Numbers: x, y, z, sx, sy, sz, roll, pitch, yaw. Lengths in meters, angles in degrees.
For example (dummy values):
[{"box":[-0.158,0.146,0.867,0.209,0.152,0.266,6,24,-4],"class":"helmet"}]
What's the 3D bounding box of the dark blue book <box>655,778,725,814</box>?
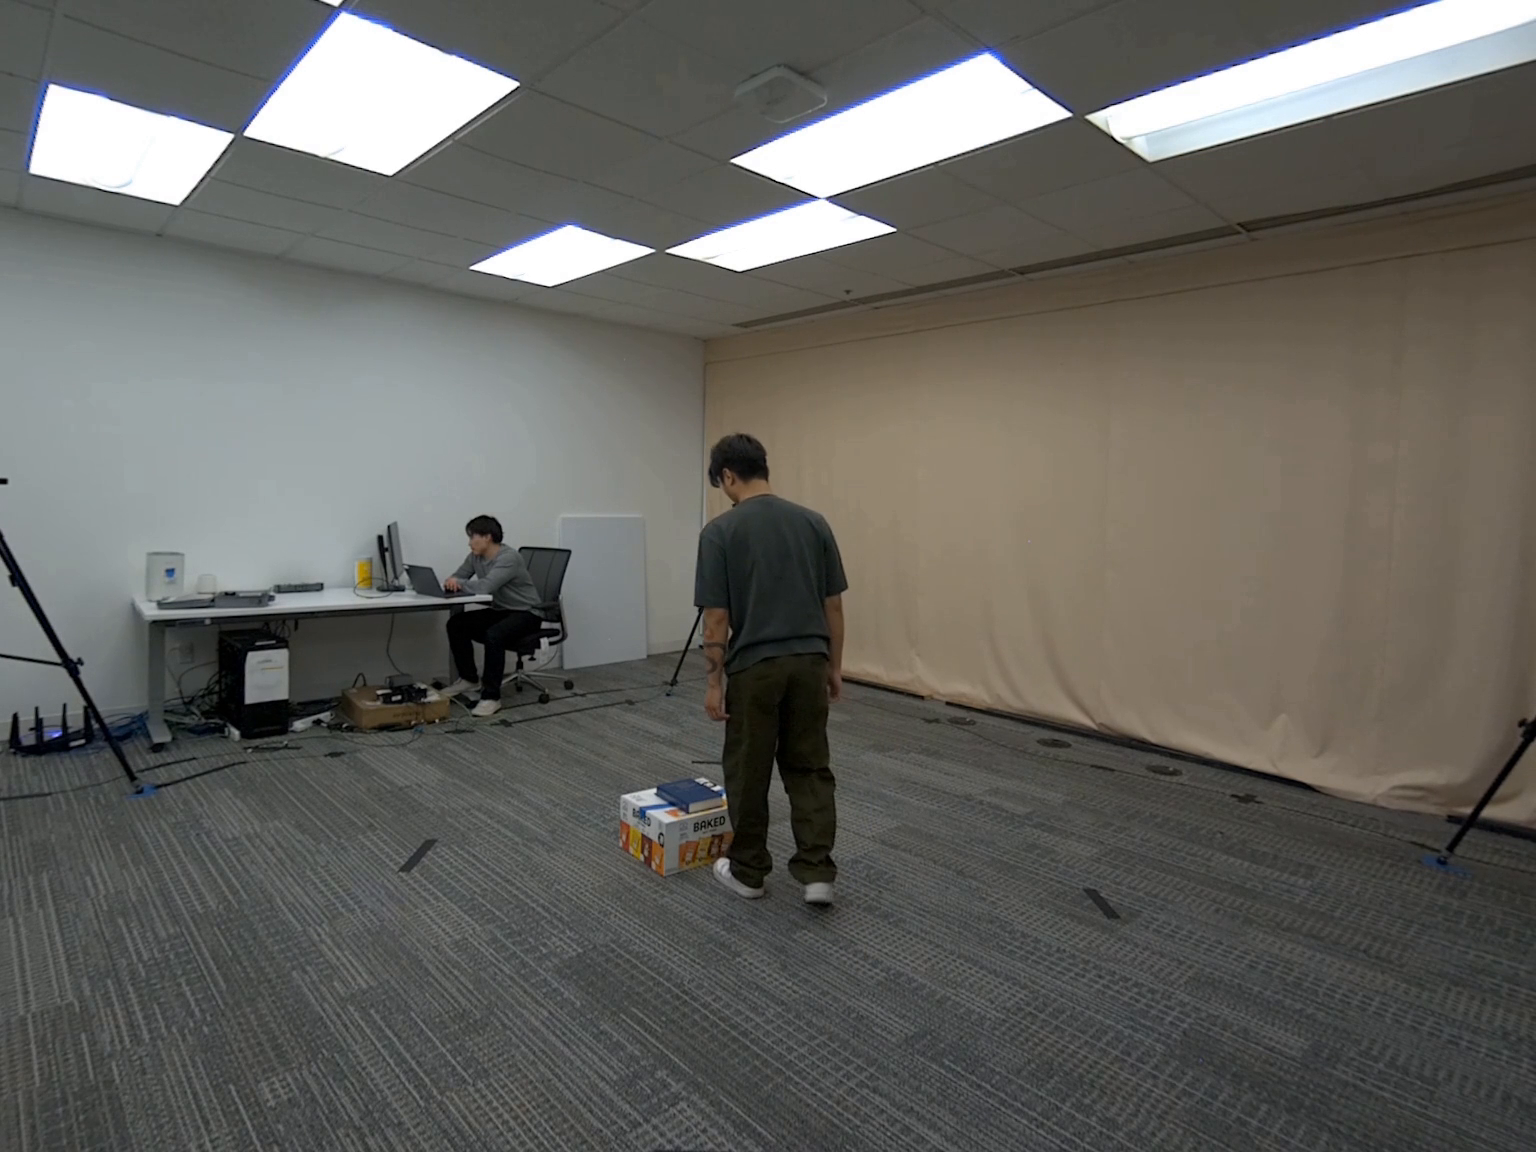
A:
[{"box":[-0.324,0.870,3.326,0.160,0.045,0.251,-2,6,-36],"class":"dark blue book"}]
